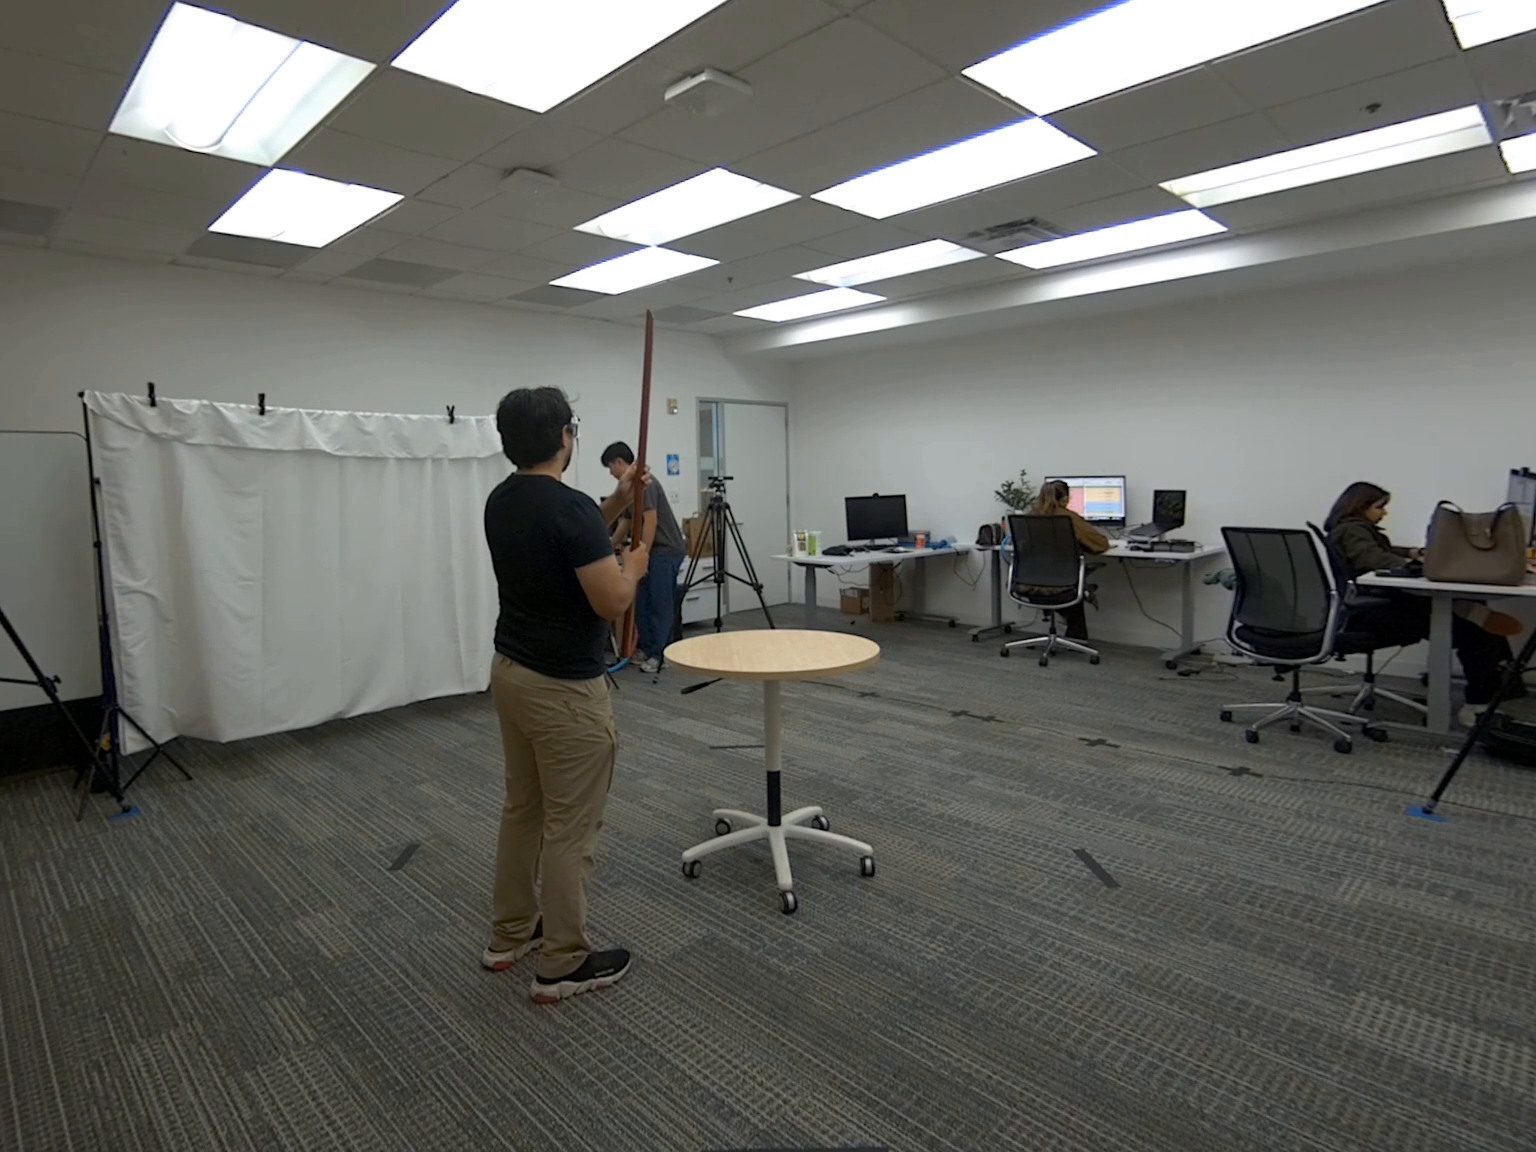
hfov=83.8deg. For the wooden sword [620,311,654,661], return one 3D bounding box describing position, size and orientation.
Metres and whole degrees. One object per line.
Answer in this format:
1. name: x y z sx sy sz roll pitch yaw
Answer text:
1. wooden sword: -0.393 -0.272 2.520 0.051 1.017 0.024 6 9 3
